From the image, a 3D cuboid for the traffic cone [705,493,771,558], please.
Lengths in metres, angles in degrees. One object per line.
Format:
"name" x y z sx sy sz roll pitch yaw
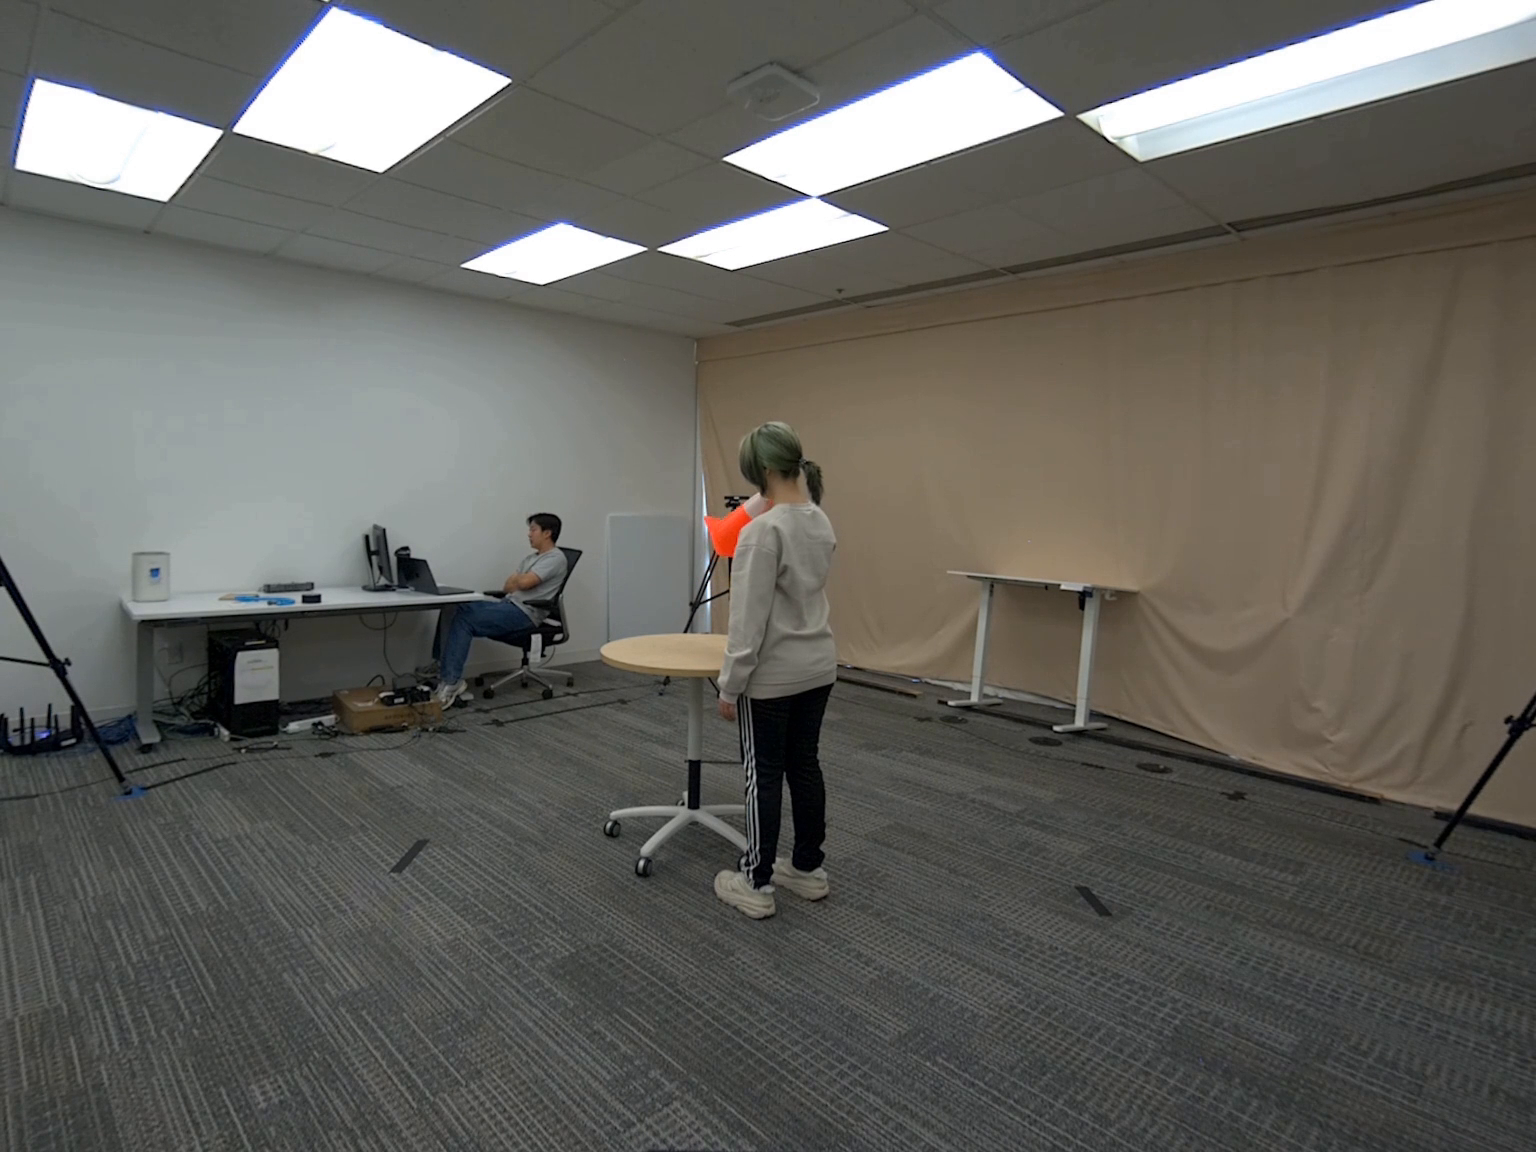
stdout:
"traffic cone" -0.046 -0.254 3.244 0.199 0.209 0.384 12 -44 -41
